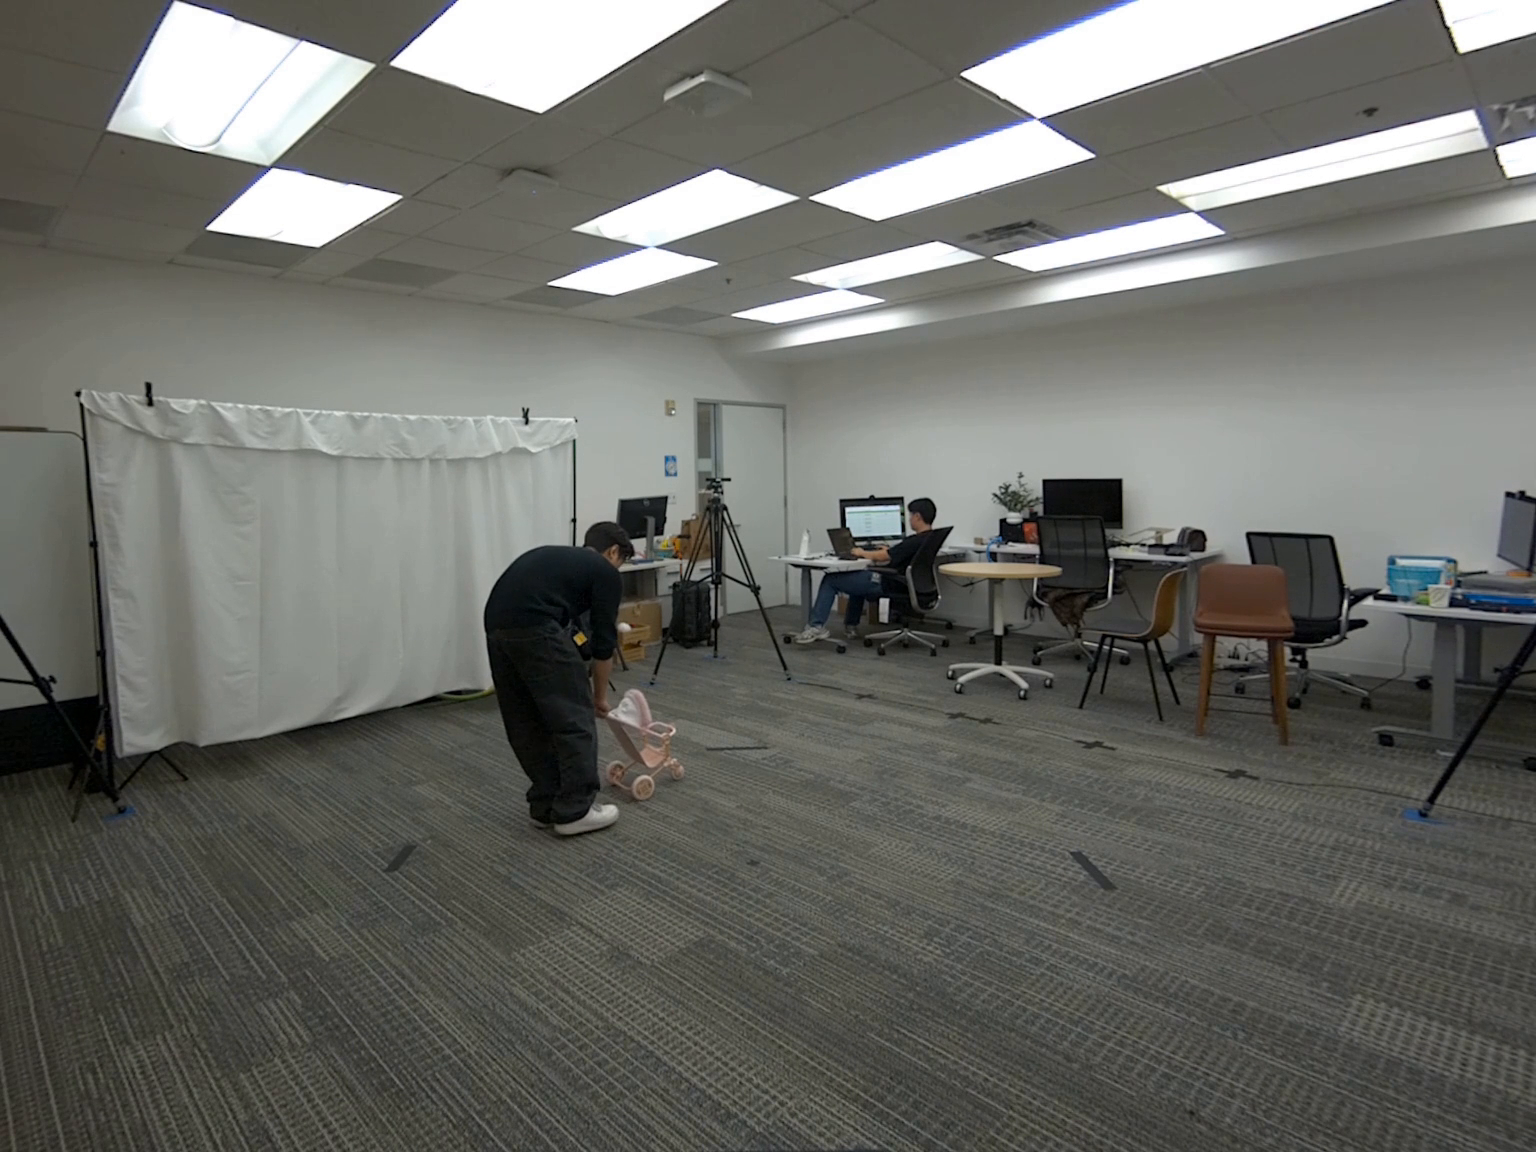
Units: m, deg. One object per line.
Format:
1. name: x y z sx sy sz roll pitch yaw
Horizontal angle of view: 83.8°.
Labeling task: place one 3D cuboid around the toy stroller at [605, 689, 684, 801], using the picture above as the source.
1. toy stroller: -0.579 0.746 3.862 0.337 0.527 0.289 -24 16 -29
